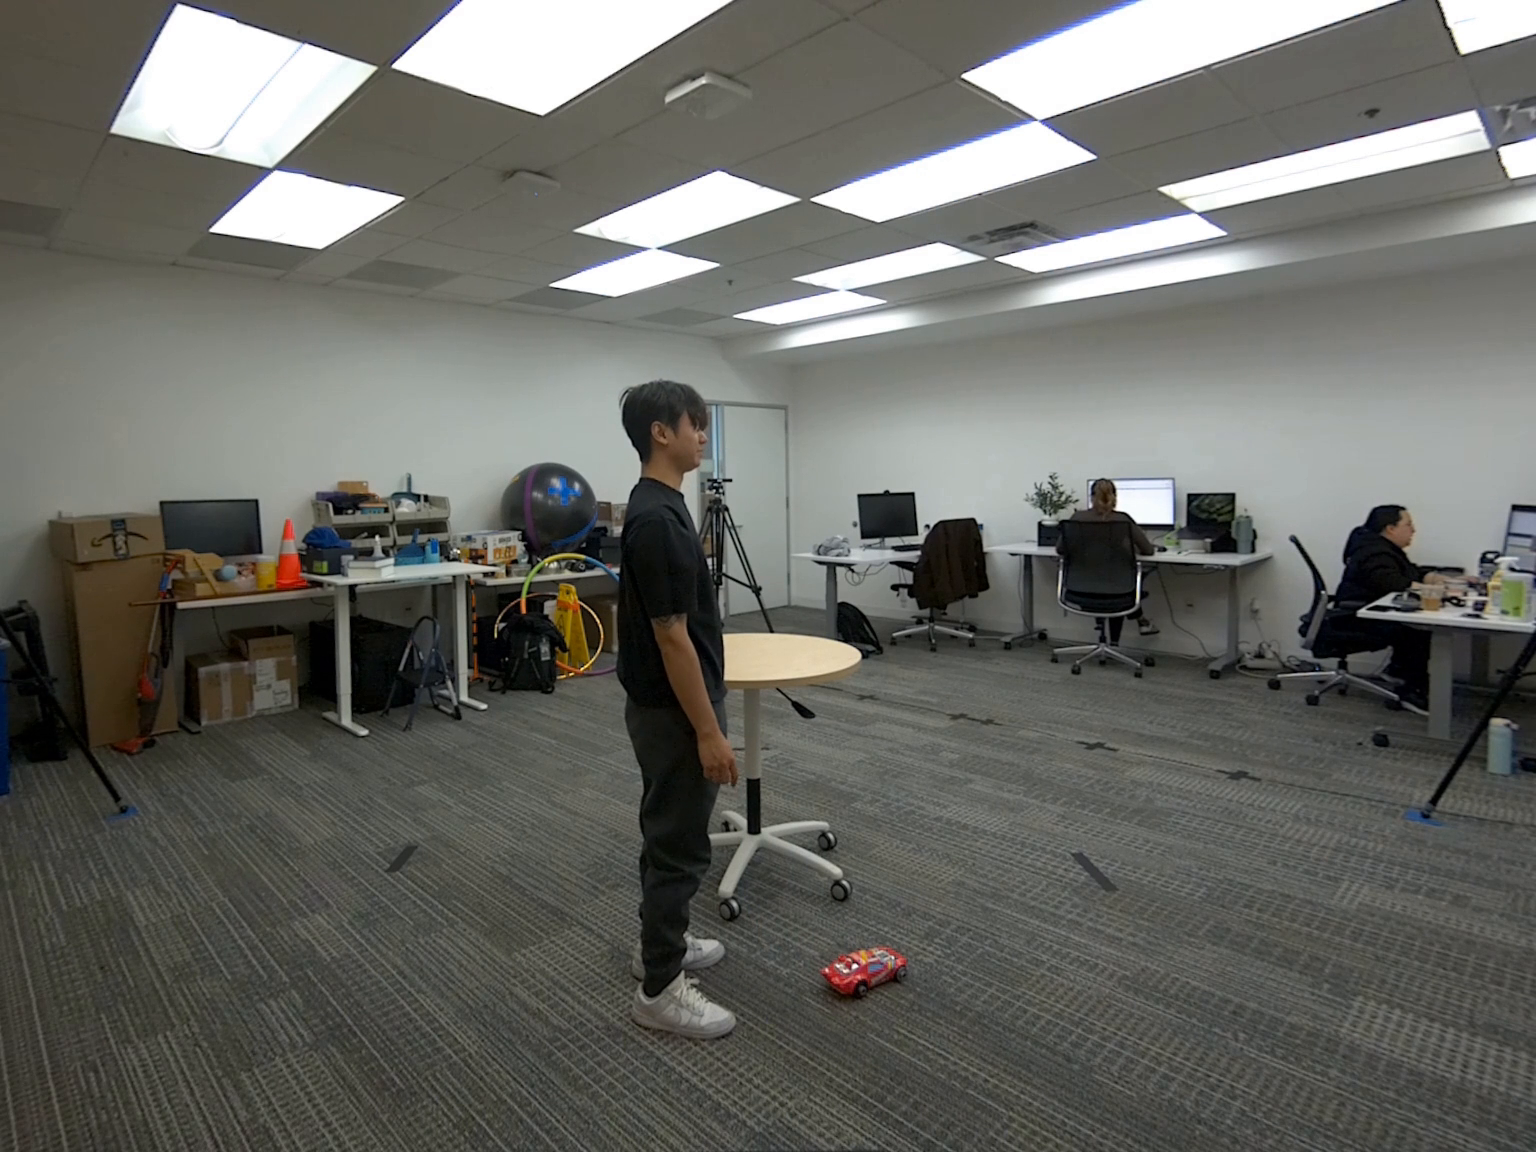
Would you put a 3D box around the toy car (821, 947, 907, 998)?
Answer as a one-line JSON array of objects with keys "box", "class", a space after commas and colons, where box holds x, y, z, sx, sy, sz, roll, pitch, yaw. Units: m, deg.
[{"box": [0.275, 1.098, 2.359, 0.247, 0.083, 0.134, 8, 1, -32], "class": "toy car"}]
